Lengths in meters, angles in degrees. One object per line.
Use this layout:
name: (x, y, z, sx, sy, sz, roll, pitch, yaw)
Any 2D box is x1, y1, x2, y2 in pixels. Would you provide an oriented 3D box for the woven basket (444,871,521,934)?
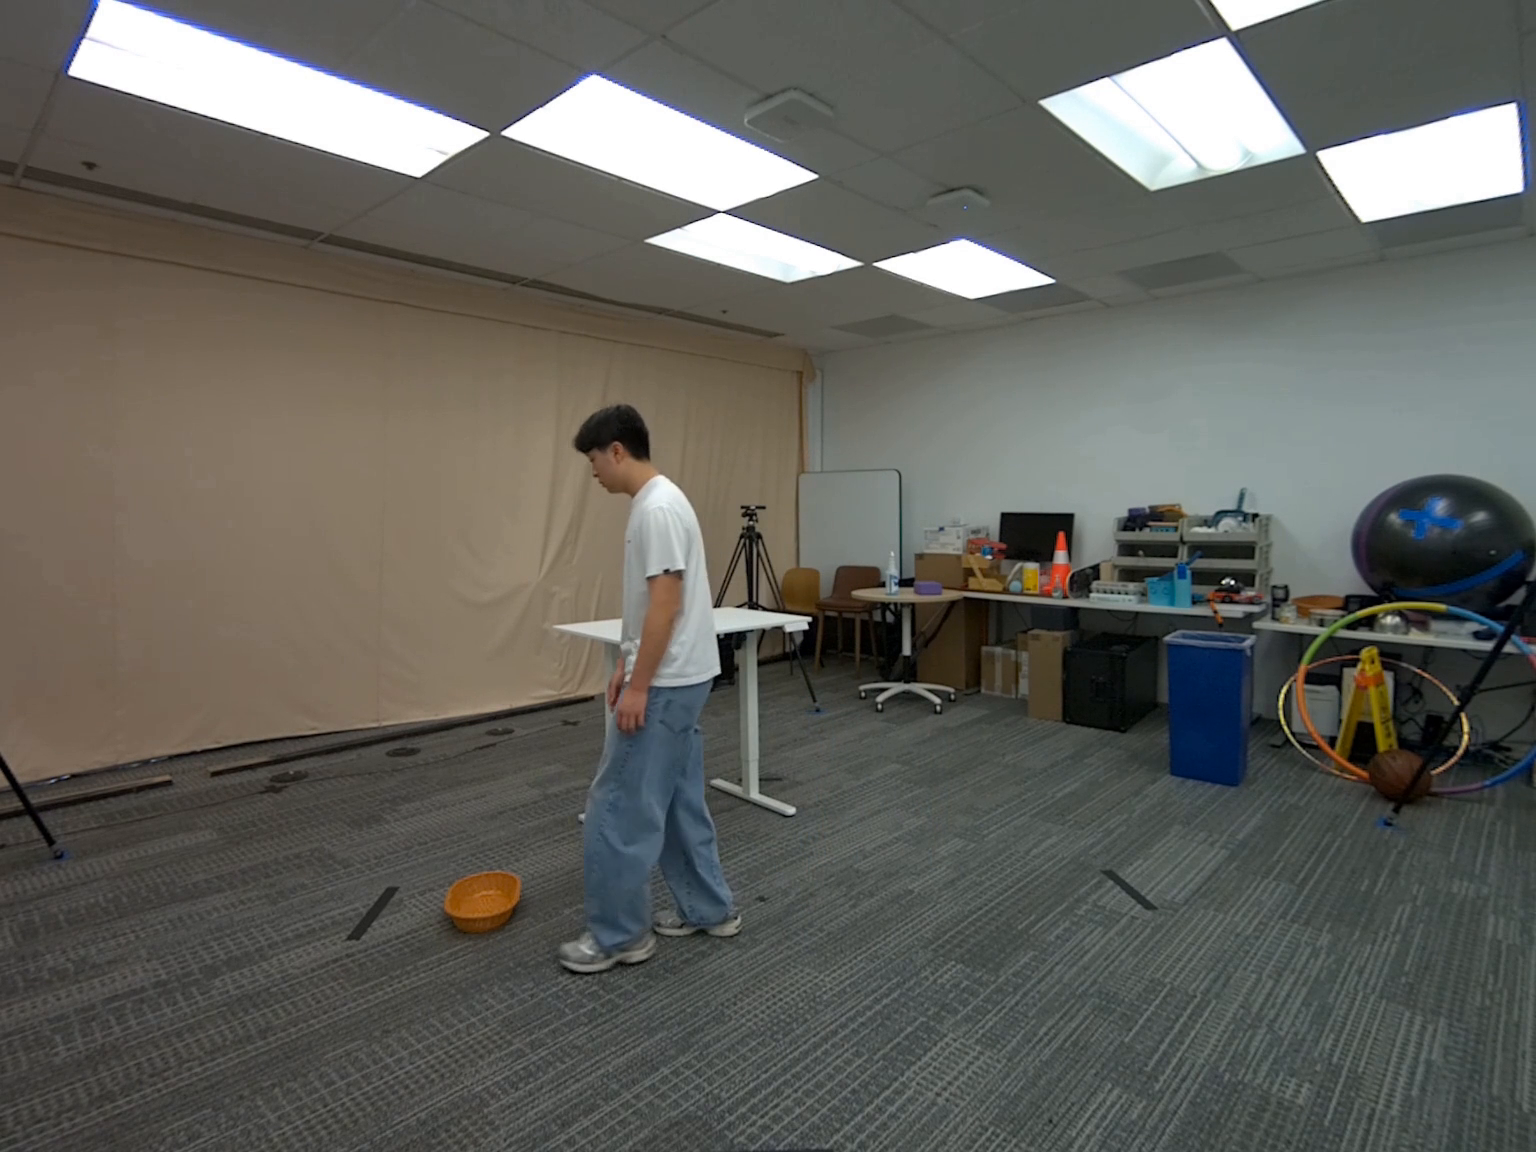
woven basket: (-0.977, 1.124, 2.895, 0.250, 0.073, 0.354, -1, 4, -8)
